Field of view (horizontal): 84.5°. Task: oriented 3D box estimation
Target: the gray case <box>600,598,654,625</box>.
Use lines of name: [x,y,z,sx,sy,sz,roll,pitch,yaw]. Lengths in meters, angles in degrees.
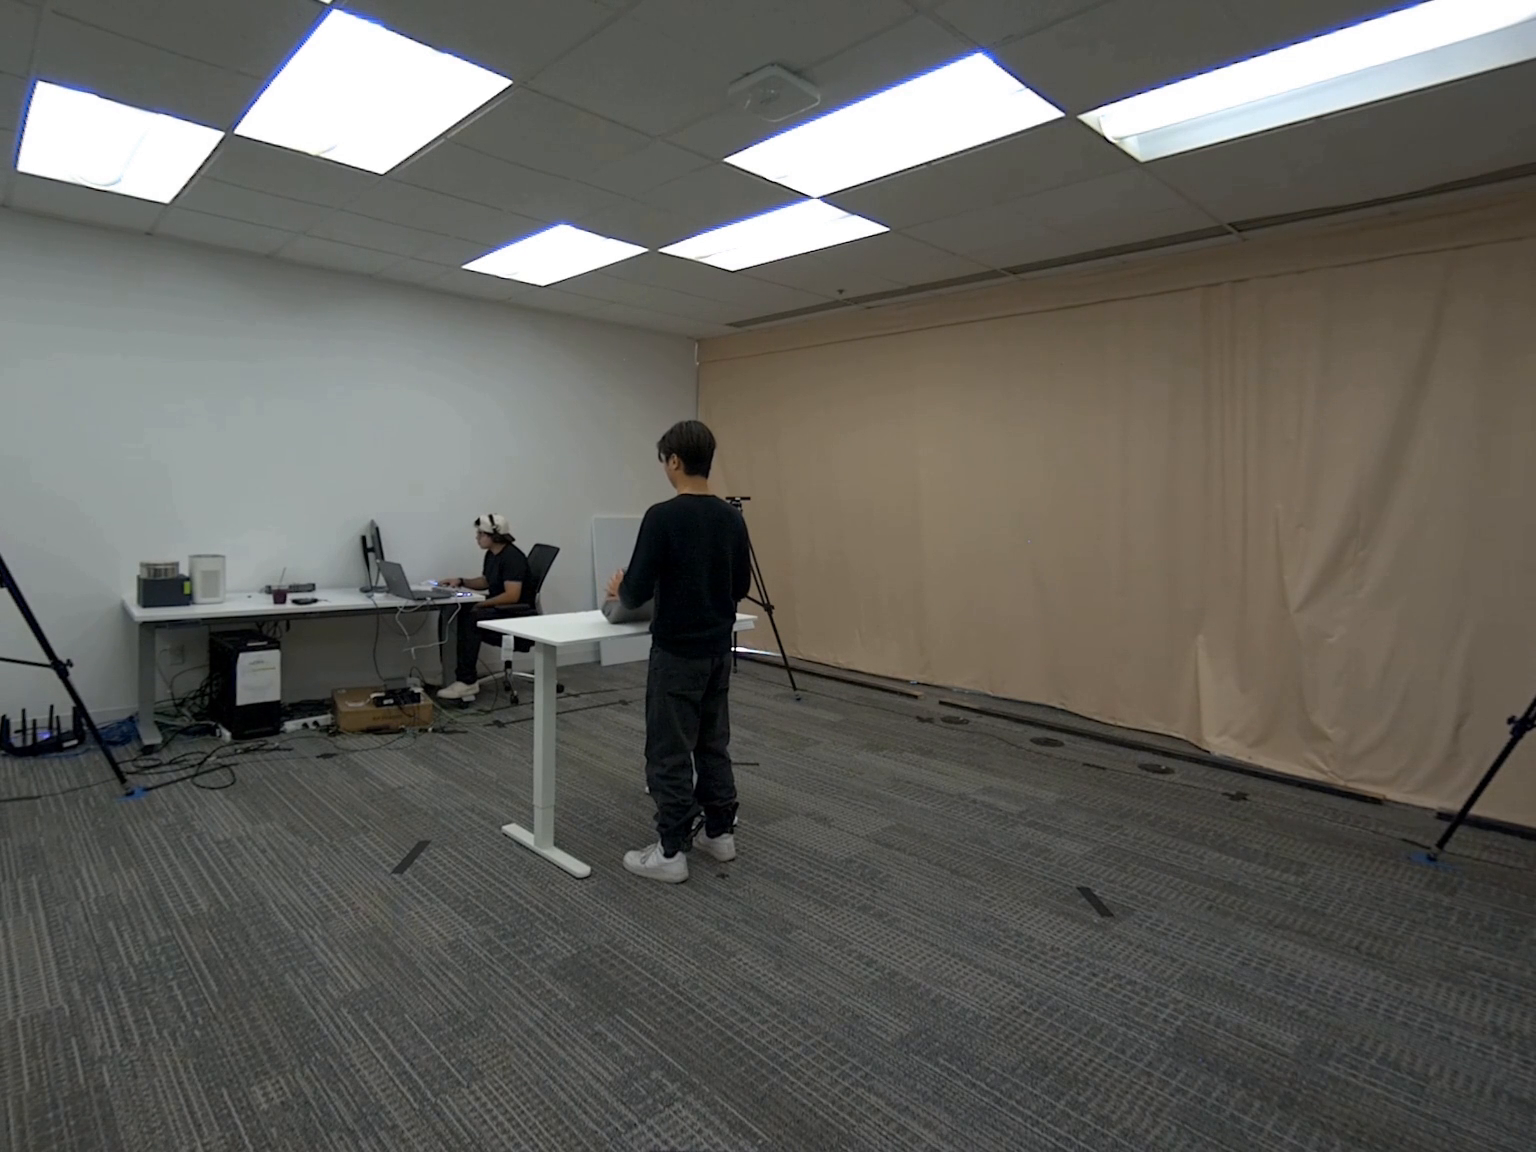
gray case: [-0.531,0.073,3.395,0.251,0.259,0.107,-7,49,-49]
